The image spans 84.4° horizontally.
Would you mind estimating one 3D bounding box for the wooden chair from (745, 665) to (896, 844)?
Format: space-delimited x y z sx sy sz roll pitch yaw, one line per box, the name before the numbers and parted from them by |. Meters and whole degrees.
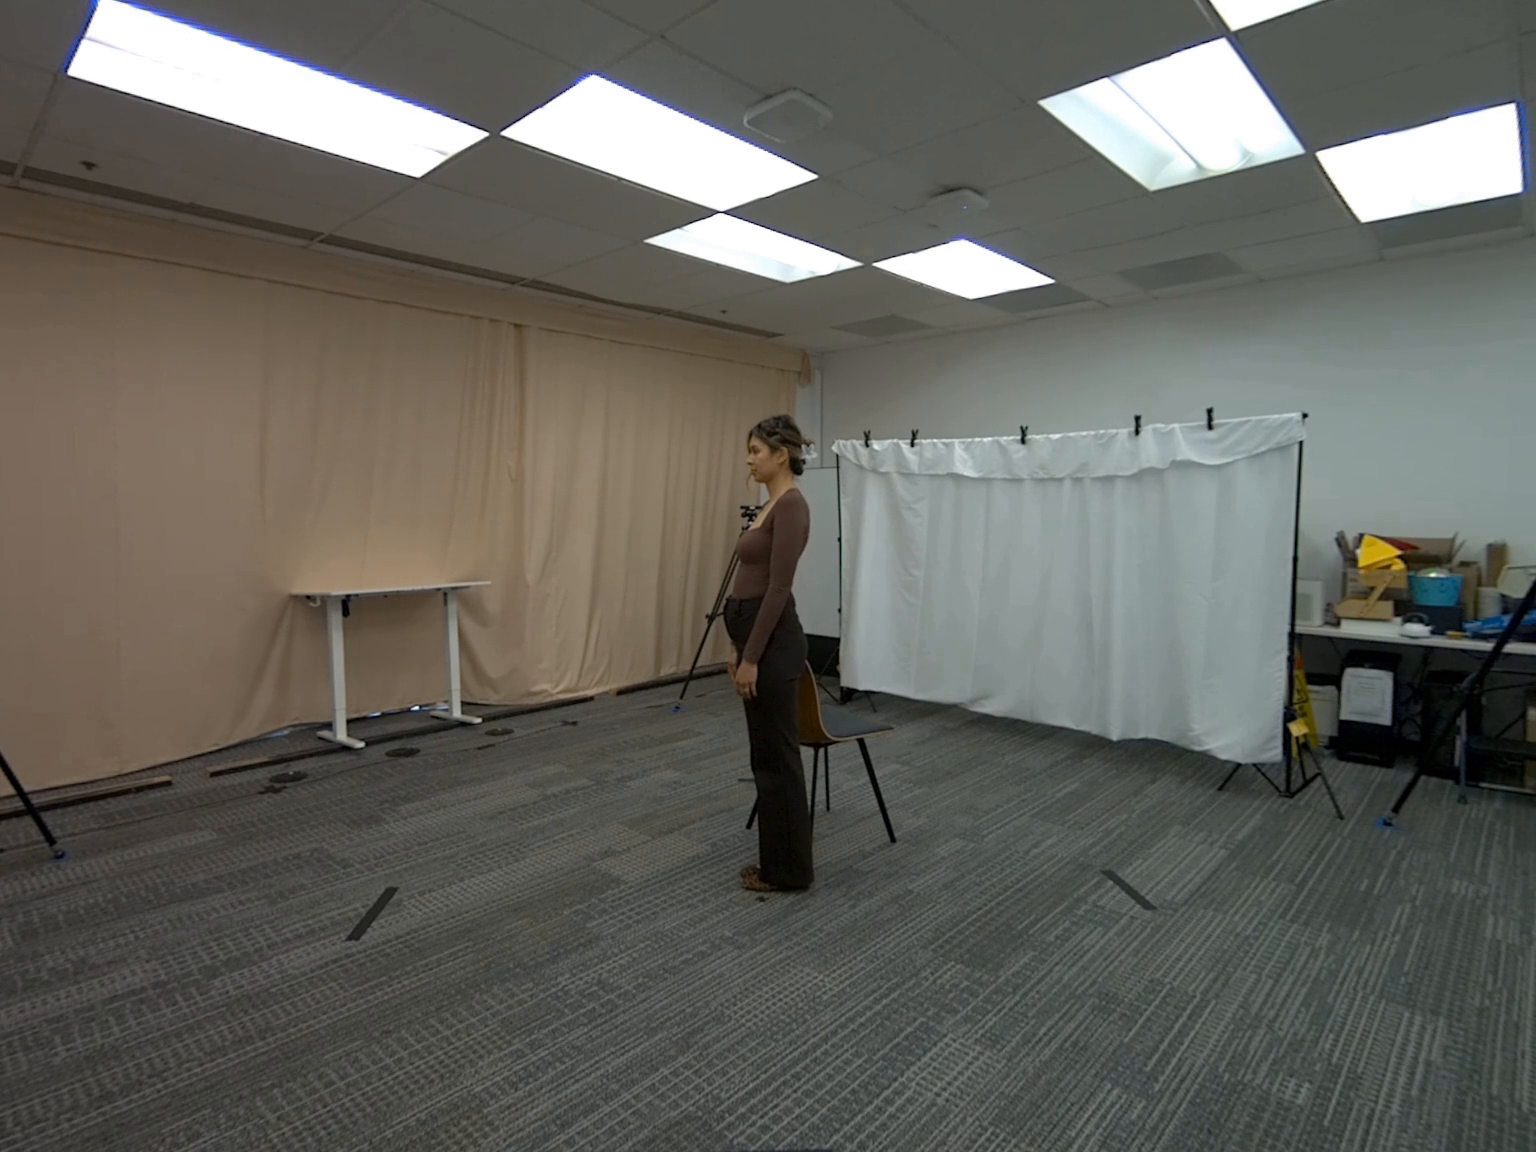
wooden chair | 0.224 0.673 3.535 0.509 0.874 0.492 -7 6 -32
